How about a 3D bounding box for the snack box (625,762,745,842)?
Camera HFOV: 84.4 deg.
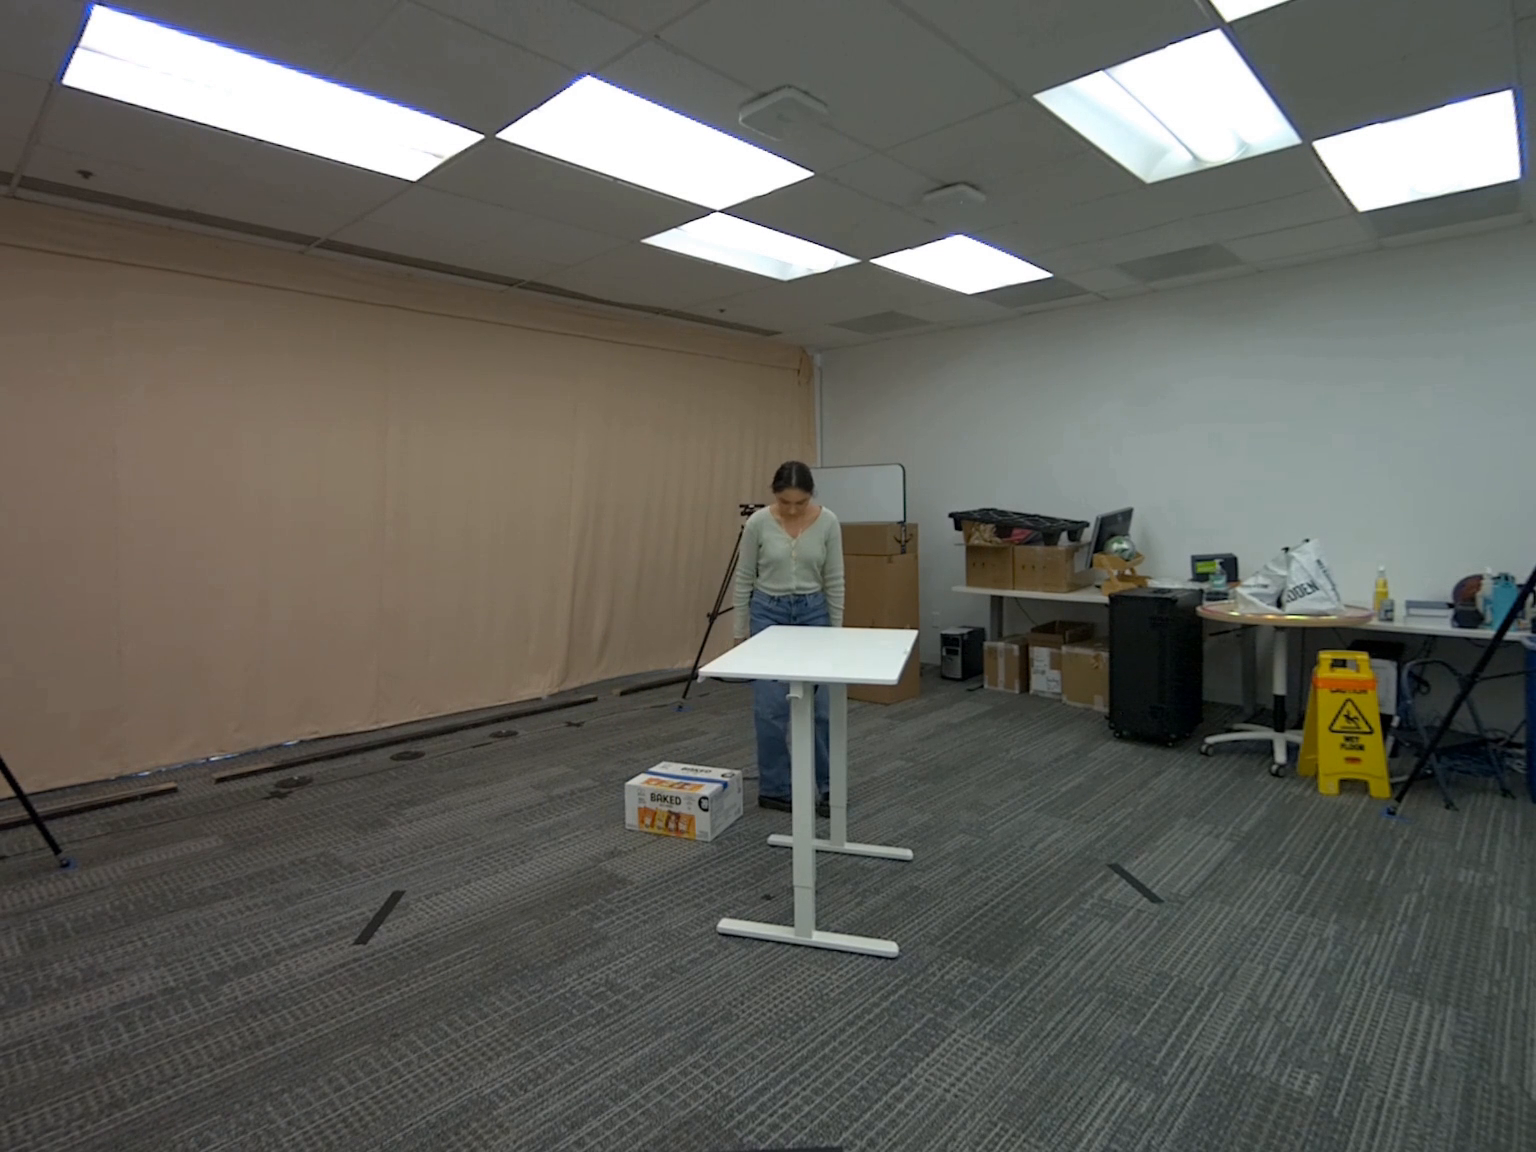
[{"bbox_3d":[-0.366,0.984,3.707,0.415,0.205,0.333,1,5,24],"label":"snack box"}]
